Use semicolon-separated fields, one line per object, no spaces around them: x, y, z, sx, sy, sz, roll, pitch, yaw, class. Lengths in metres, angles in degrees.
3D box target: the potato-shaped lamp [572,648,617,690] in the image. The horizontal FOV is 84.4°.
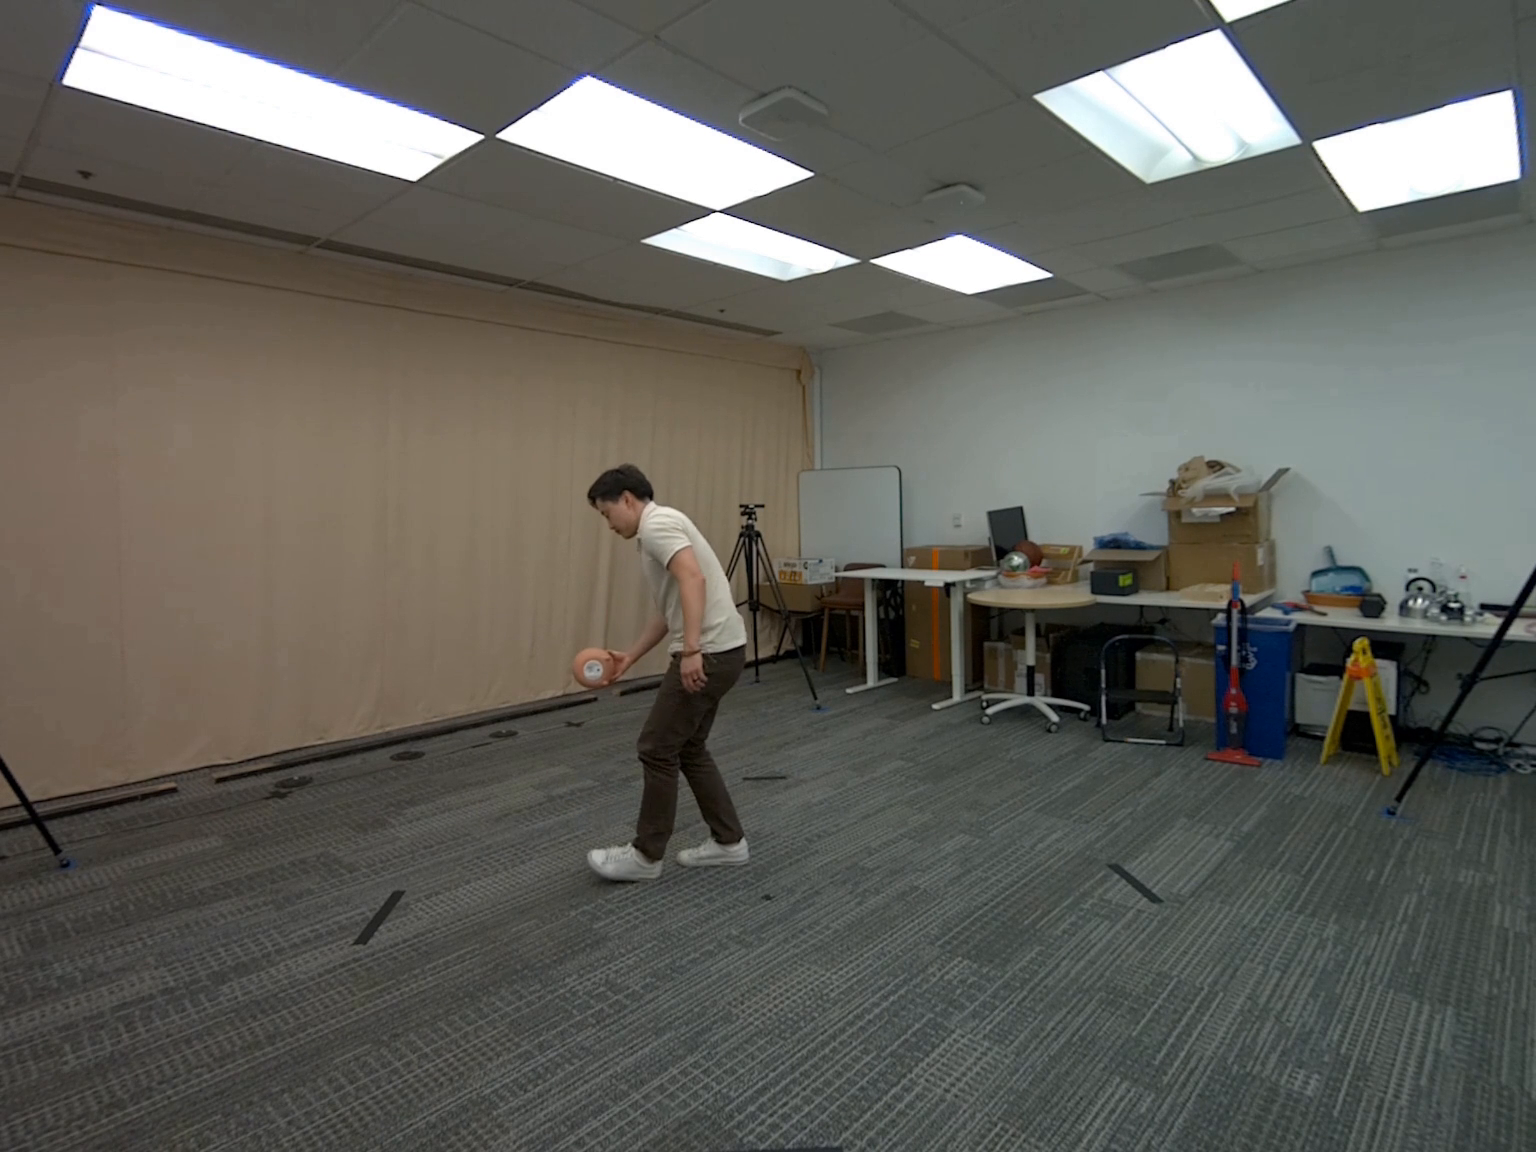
-0.714;0.378;3.455;0.171;0.165;0.198;5;-3;-2;potato-shaped lamp
